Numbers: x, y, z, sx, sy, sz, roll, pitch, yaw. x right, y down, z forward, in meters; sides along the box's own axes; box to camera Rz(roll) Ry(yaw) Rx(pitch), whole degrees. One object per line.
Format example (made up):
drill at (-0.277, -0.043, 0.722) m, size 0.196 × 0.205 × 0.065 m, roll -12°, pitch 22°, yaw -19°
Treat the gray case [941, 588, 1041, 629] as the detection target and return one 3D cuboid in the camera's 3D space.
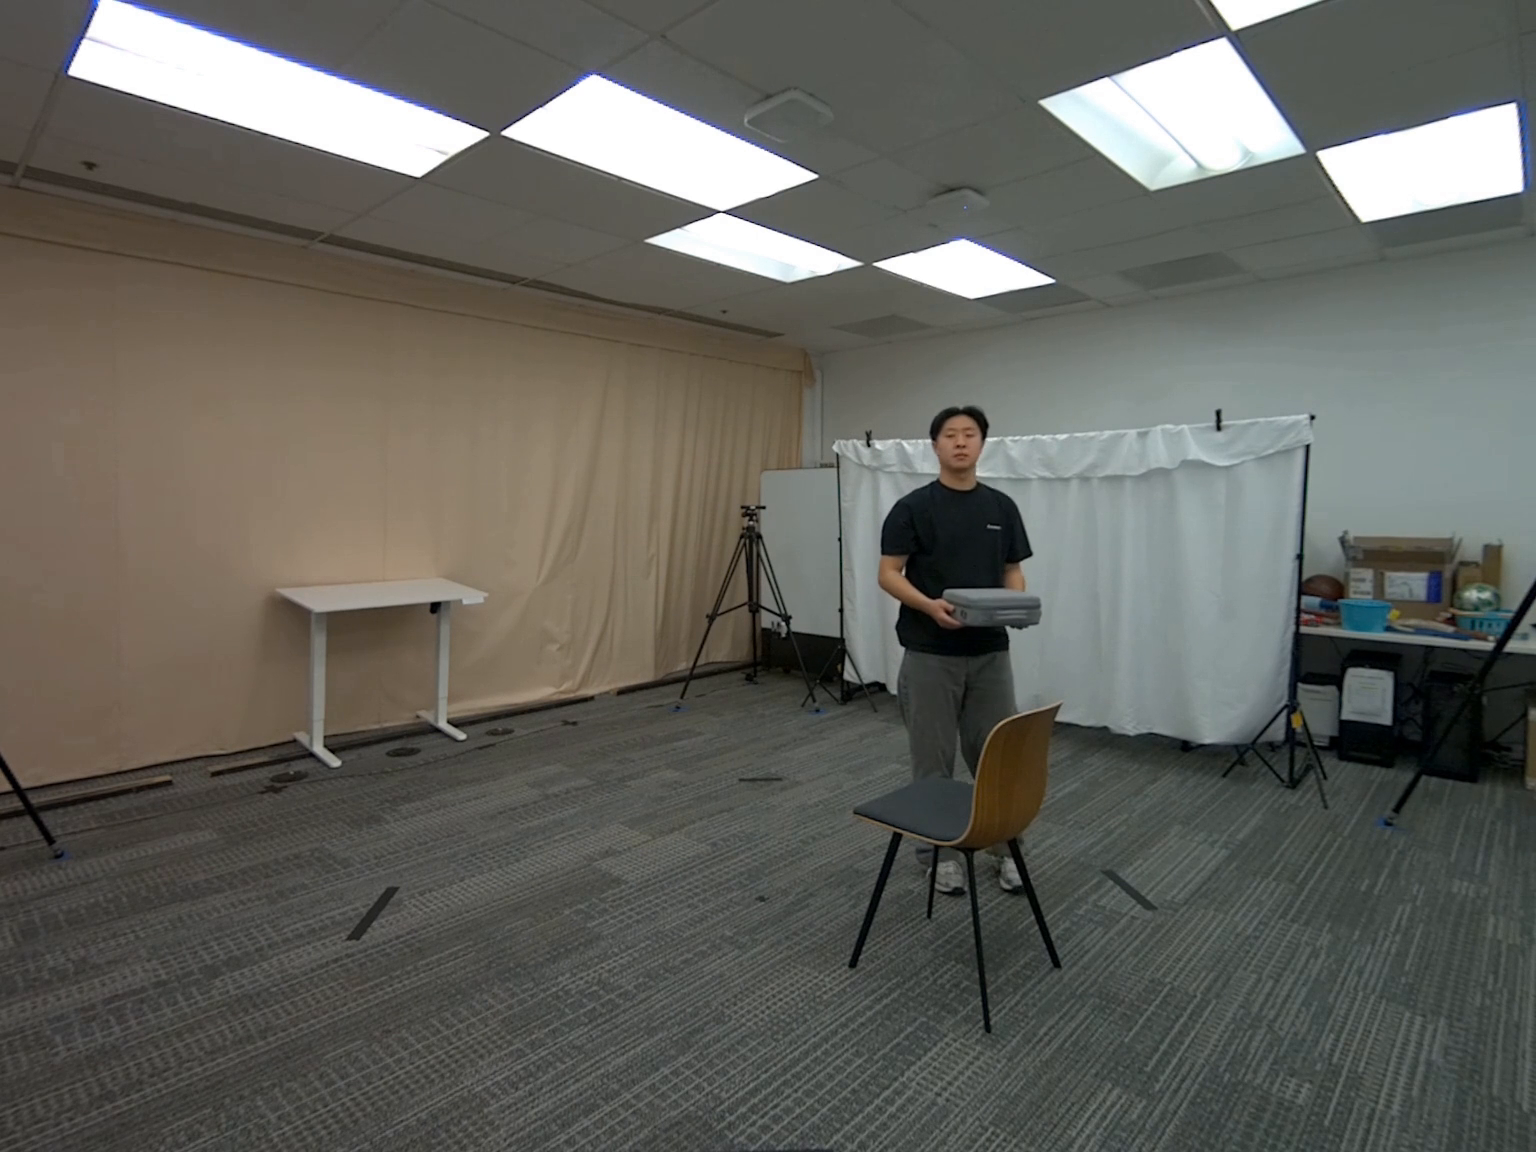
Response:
gray case at (0.748, 0.106, 2.826) m, size 0.260 × 0.103 × 0.291 m, roll 1°, pitch 4°, yaw -11°
